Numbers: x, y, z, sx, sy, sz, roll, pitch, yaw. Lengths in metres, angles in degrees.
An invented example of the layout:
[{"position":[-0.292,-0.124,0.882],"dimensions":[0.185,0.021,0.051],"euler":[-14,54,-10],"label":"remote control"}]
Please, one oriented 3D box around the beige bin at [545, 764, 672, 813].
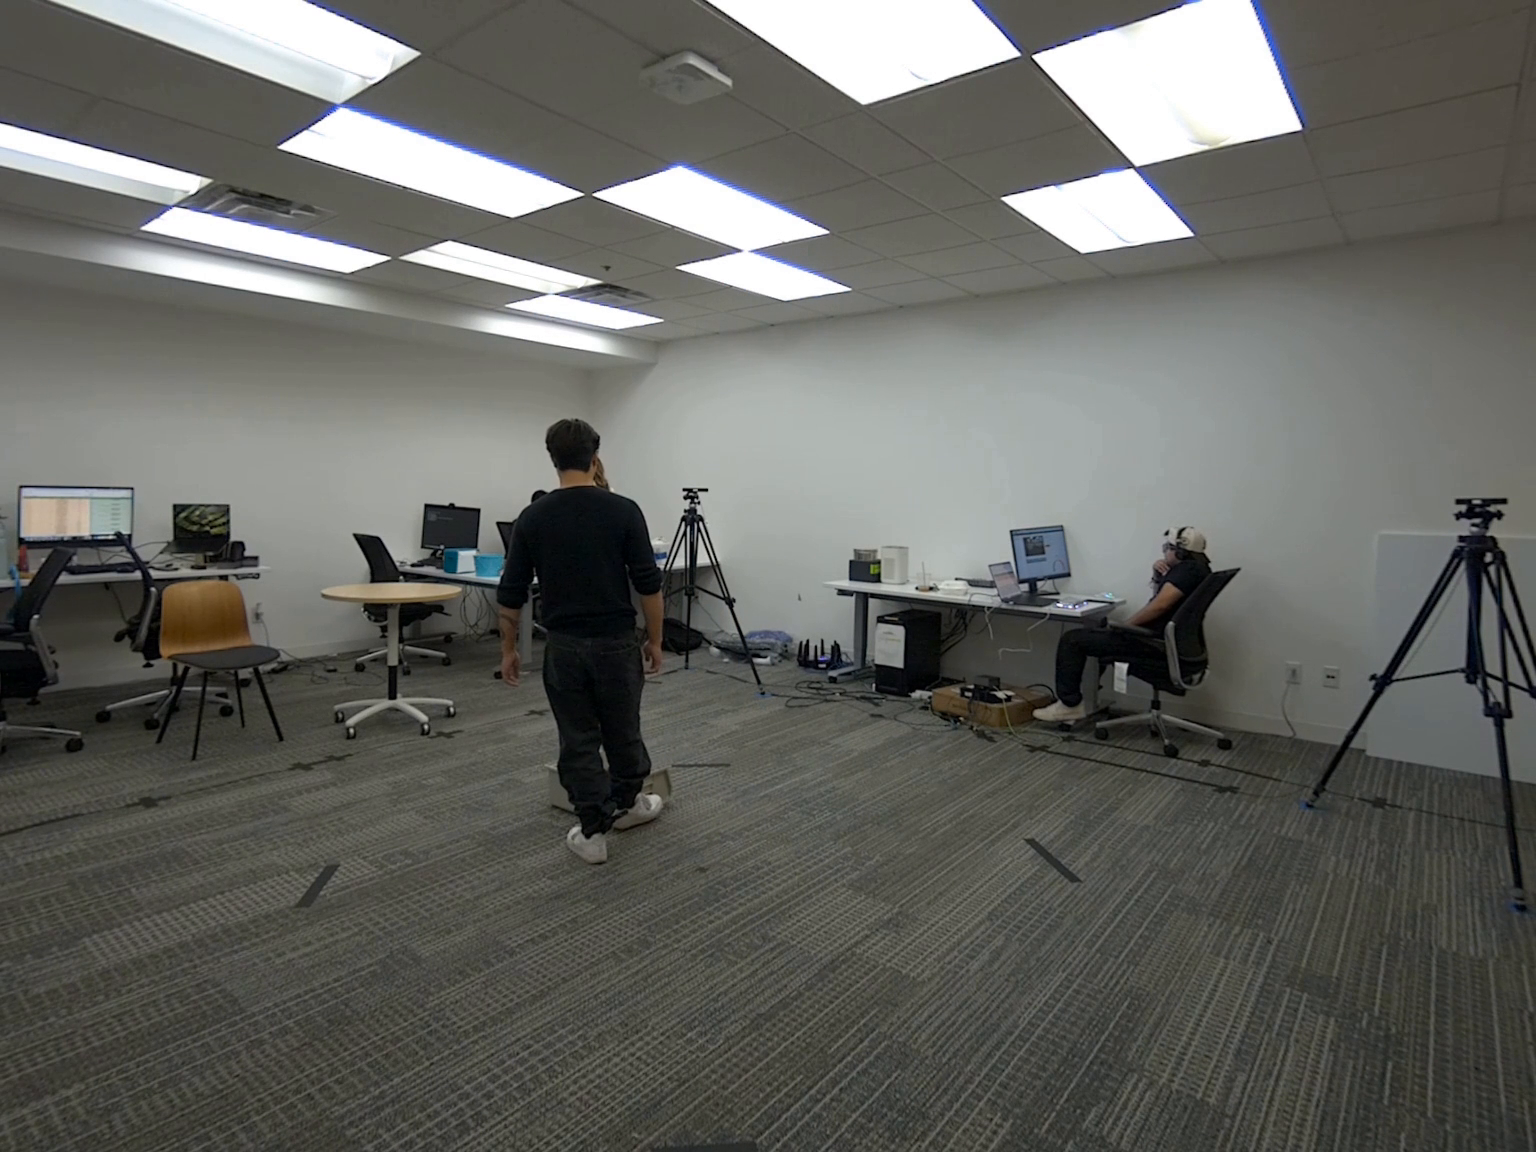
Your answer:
[{"position":[-0.704,0.909,3.716],"dimensions":[0.436,0.188,0.367],"euler":[5,7,36],"label":"beige bin"}]
